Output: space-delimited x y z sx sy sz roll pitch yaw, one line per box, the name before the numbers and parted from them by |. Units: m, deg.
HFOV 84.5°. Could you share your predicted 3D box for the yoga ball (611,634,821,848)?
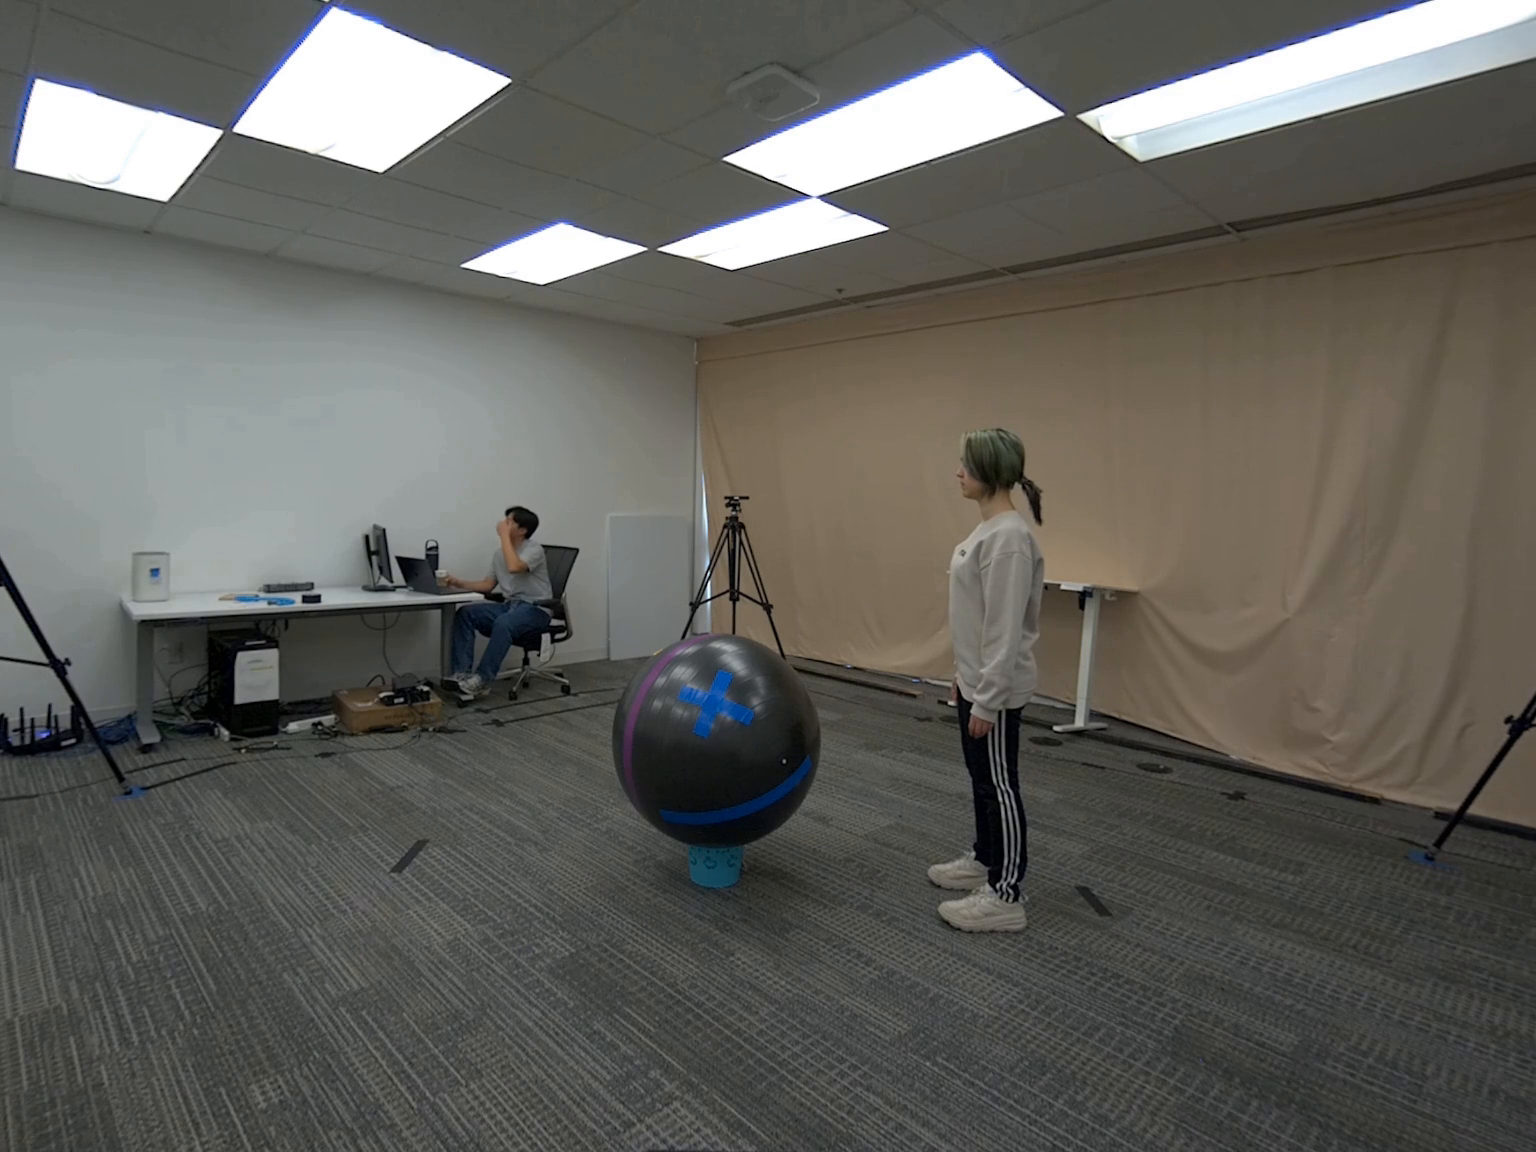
yoga ball | -0.192 0.589 3.070 0.757 0.756 0.761 1 4 -1
